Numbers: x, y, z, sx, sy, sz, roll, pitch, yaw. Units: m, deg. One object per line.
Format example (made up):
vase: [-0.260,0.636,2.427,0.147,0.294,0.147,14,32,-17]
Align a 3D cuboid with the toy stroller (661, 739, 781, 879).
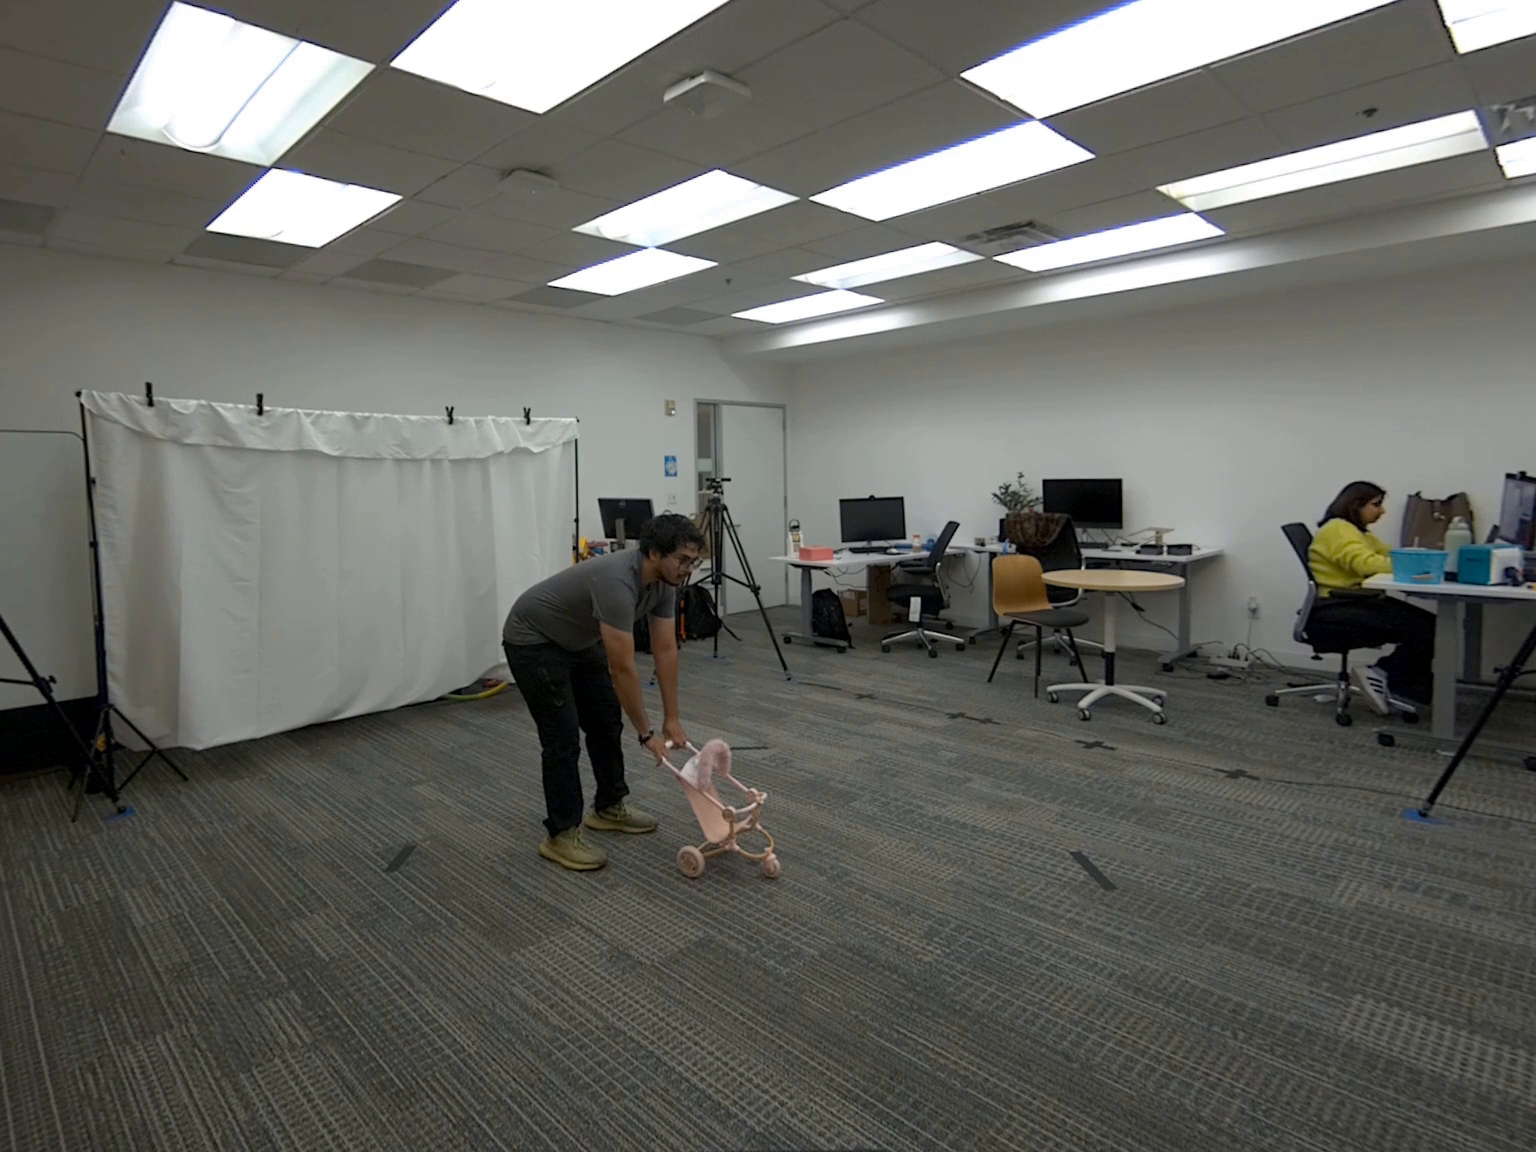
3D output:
toy stroller: [-0.165,0.826,3.063,0.347,0.538,0.275,-18,-5,31]
